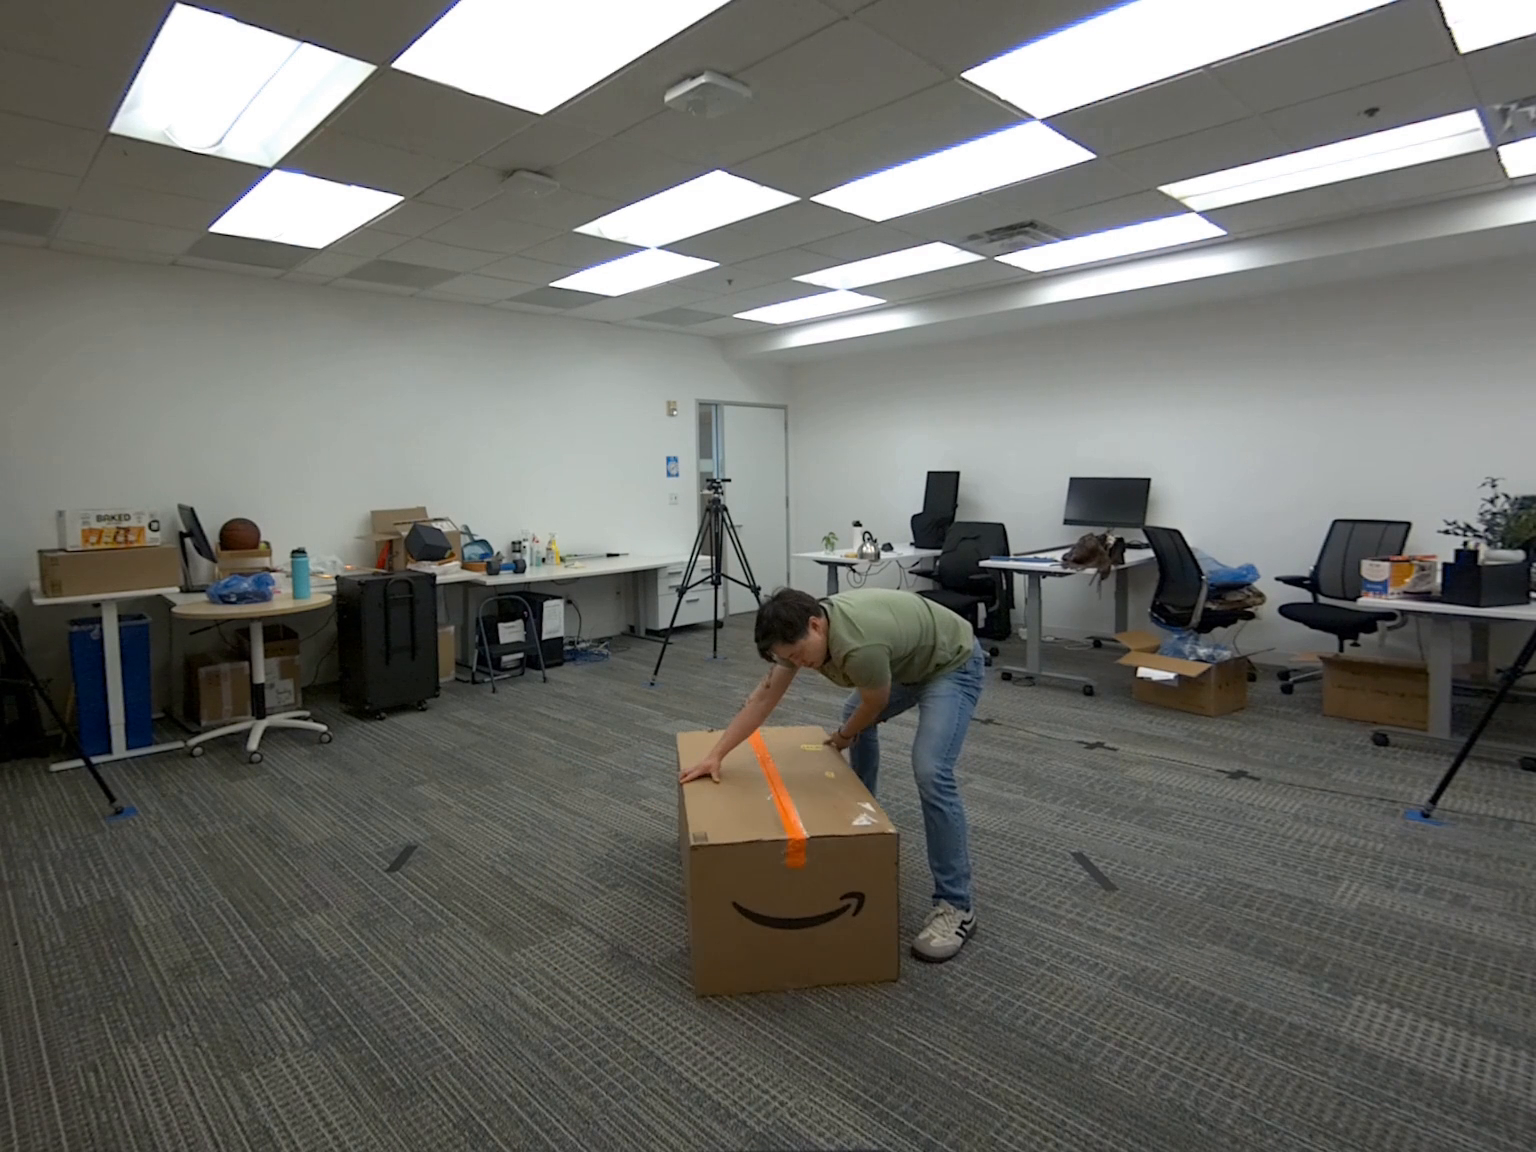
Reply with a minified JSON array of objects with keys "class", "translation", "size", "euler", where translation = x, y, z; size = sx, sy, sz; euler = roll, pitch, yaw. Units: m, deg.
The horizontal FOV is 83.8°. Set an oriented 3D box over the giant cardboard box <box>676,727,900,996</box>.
[{"class":"giant cardboard box","translation":[-0.006,0.860,2.825],"size":[0.574,0.424,1.036],"euler":[-1,6,-7]}]
